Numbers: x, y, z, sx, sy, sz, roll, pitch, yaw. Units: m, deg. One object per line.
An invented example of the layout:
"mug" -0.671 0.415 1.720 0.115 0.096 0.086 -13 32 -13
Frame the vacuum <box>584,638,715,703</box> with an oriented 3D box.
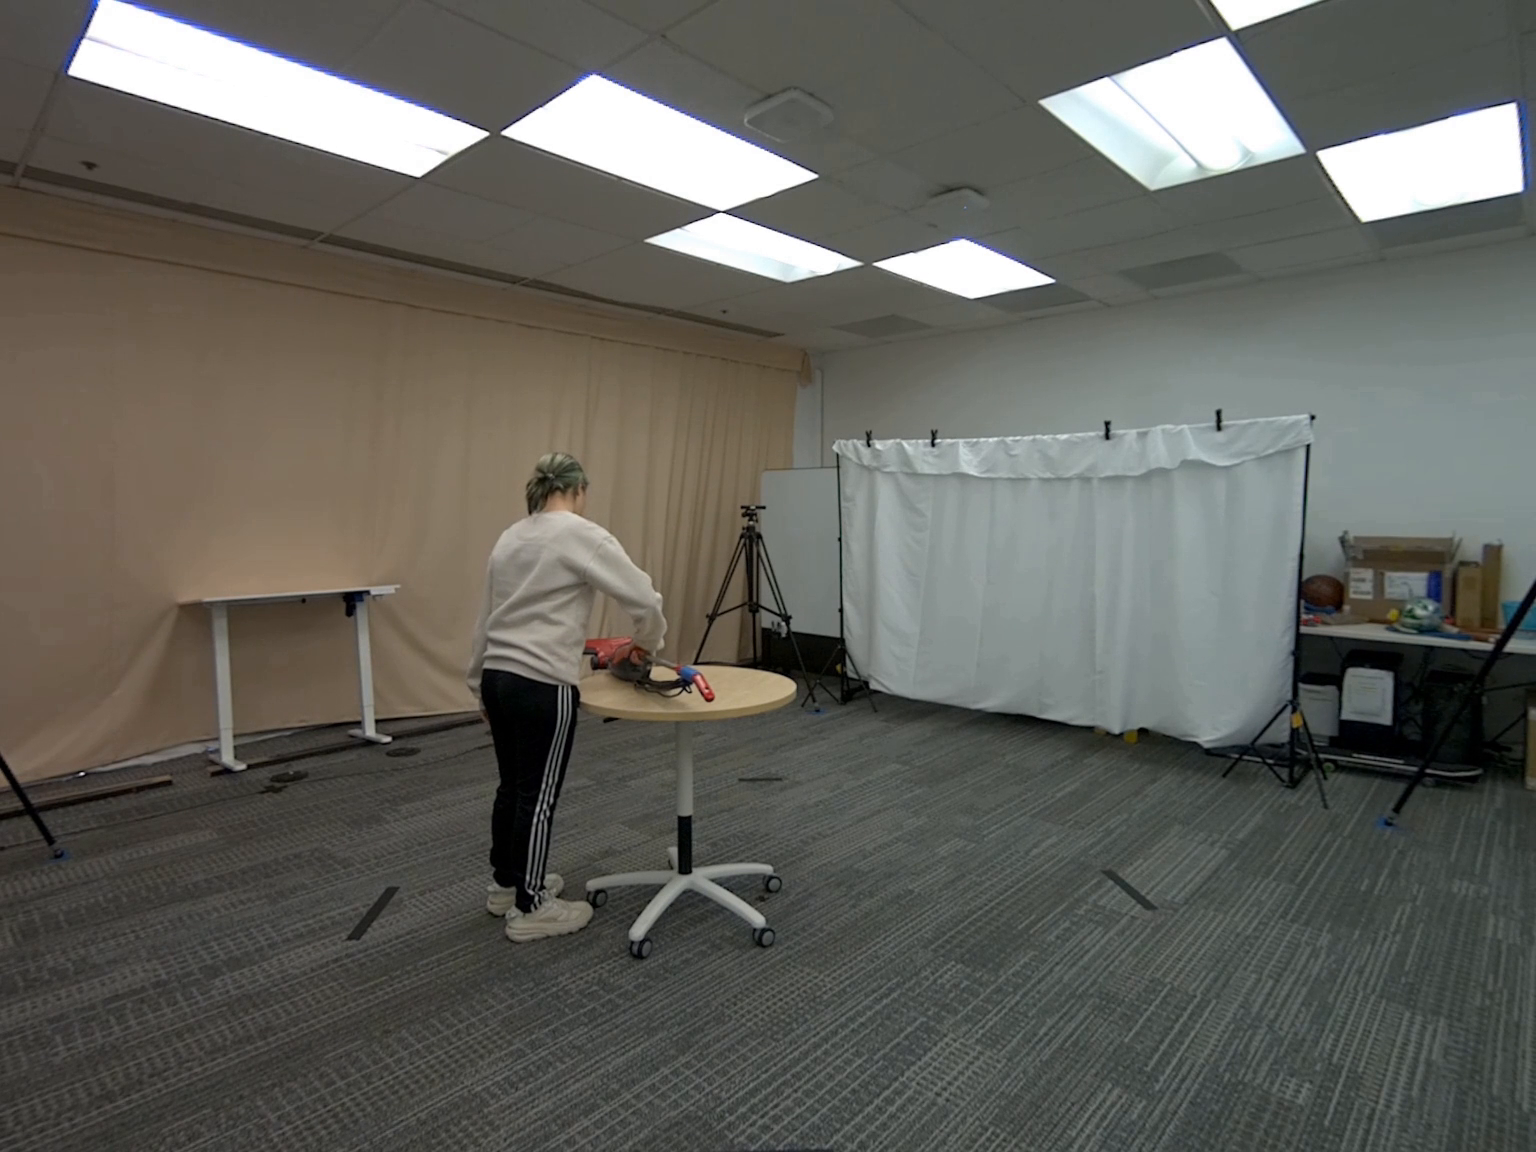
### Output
"vacuum" -0.399 0.332 2.775 0.247 0.144 1.075 -1 3 -25
